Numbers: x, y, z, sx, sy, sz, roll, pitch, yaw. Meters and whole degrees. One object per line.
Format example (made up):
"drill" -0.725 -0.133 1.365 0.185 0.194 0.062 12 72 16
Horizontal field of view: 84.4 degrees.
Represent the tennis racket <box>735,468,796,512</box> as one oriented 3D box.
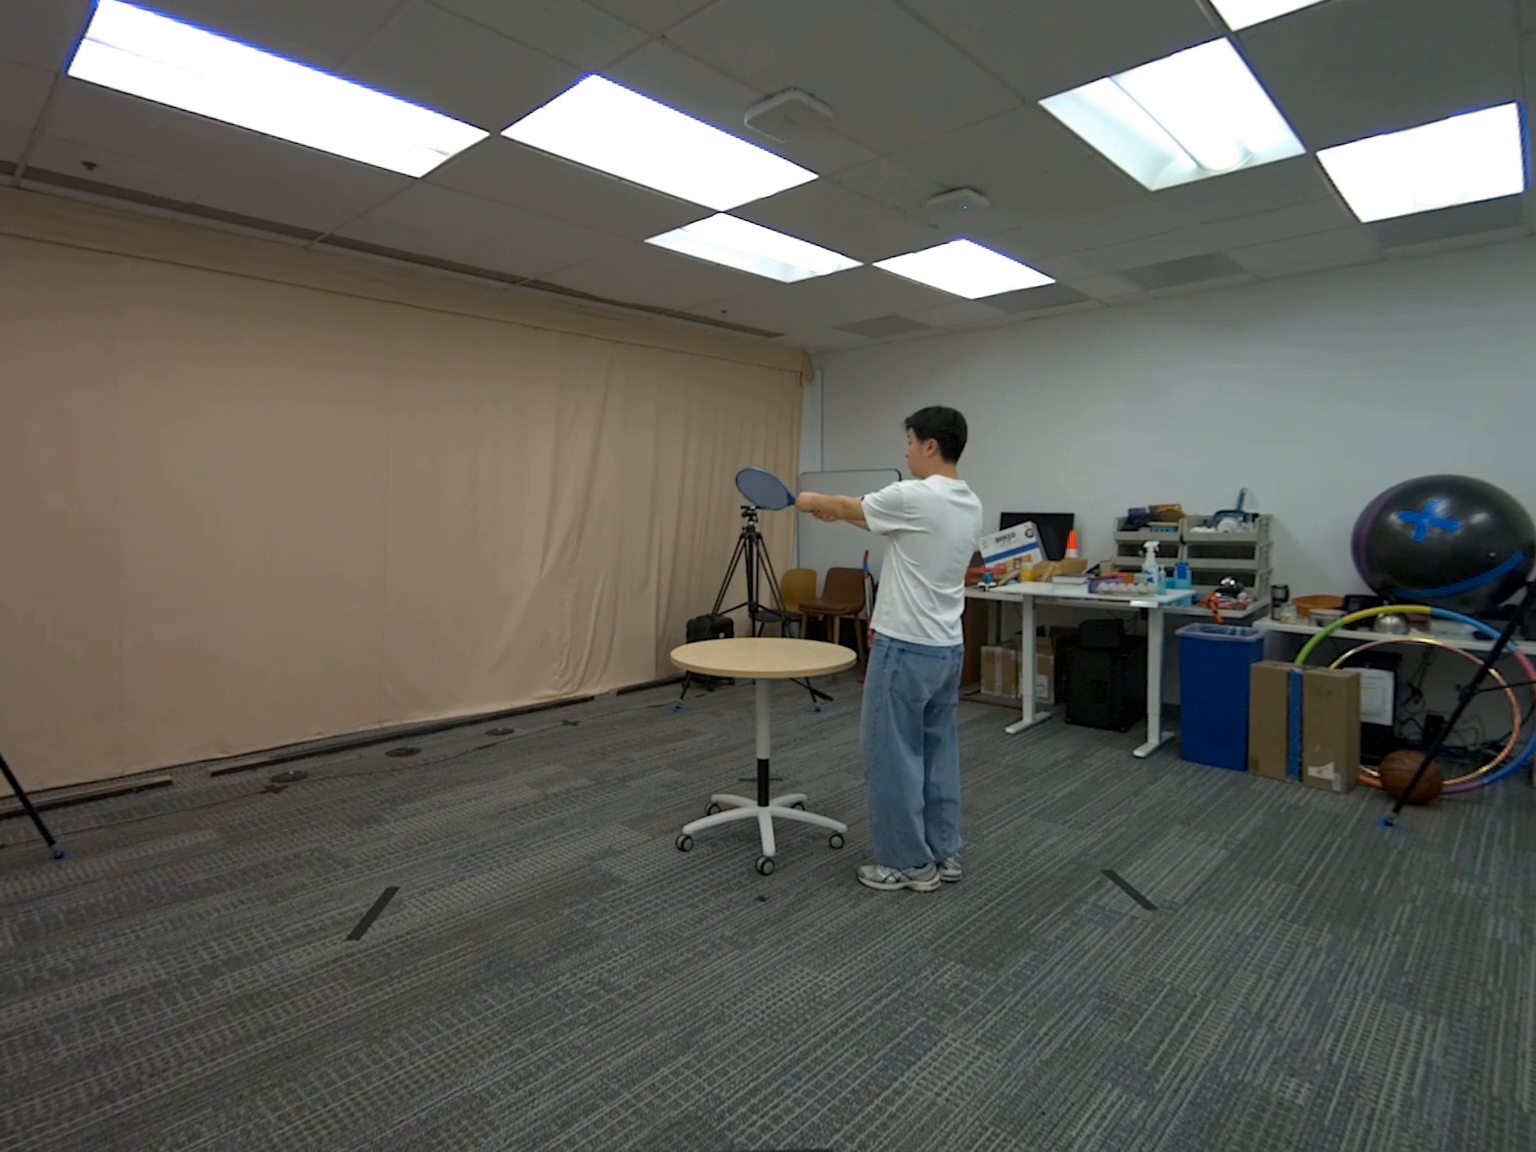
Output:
"tennis racket" 0.057 -0.343 3.592 0.443 0.210 0.031 26 51 20
